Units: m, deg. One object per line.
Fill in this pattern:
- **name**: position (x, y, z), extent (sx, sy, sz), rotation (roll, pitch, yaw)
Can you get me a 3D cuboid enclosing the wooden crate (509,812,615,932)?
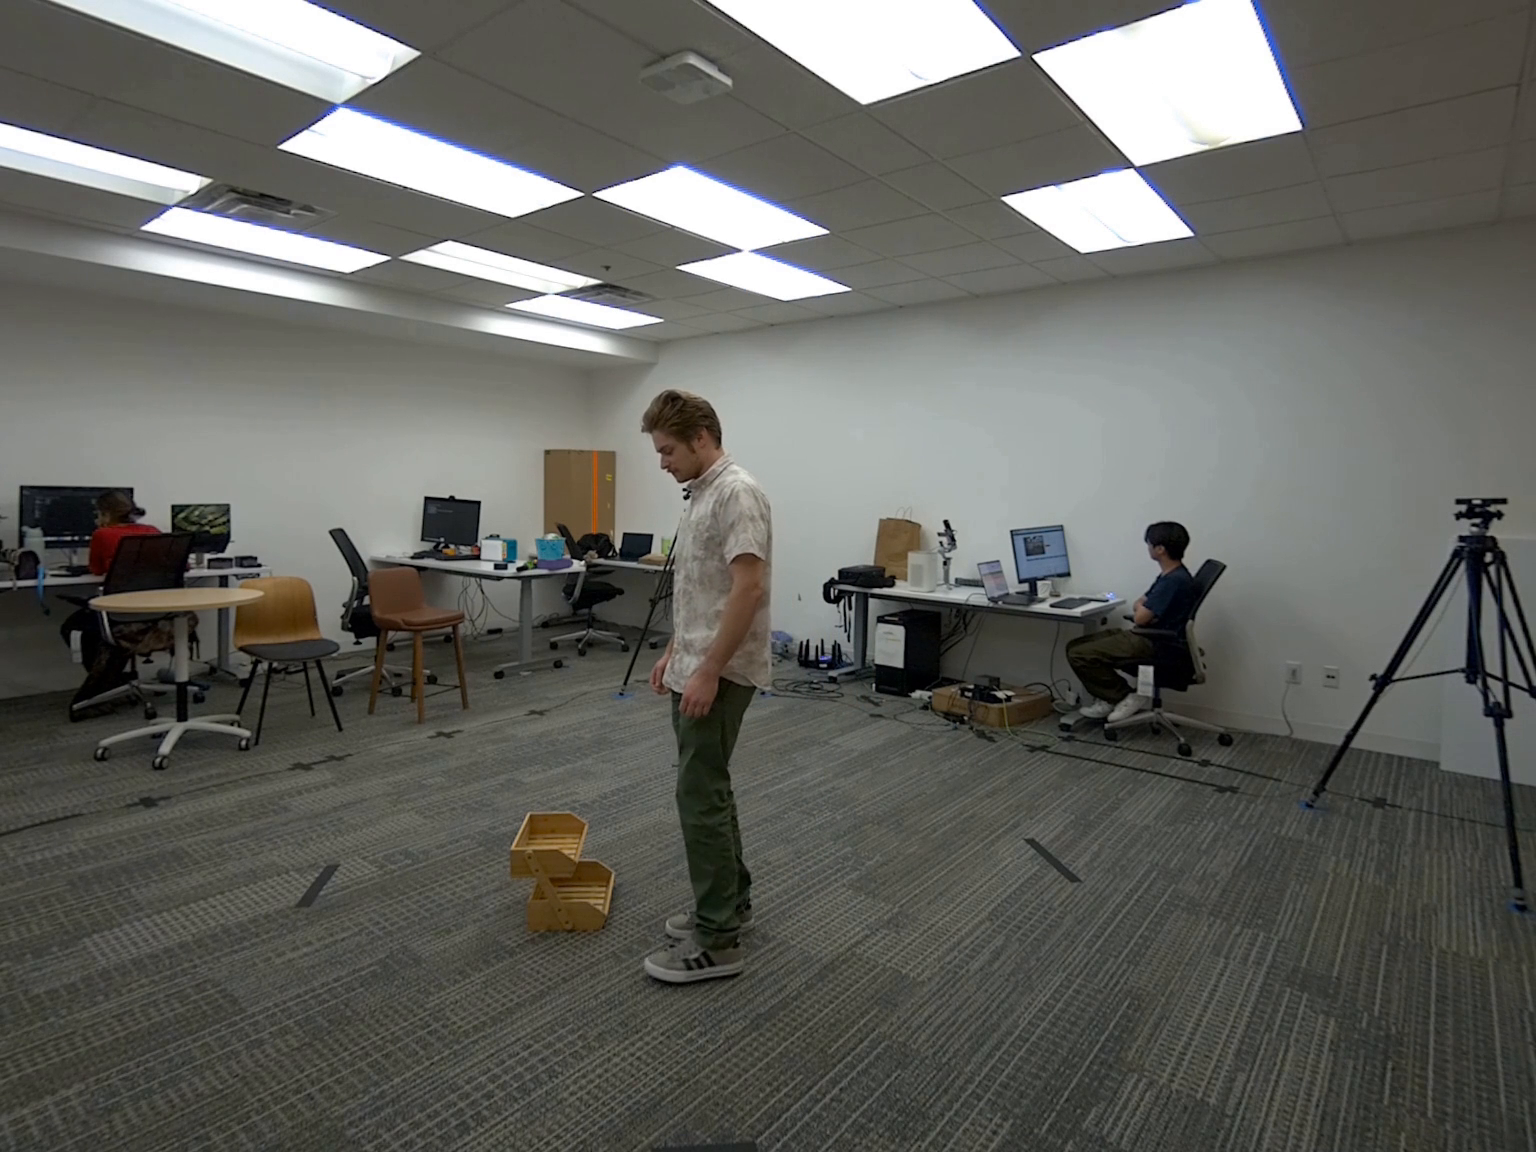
- **wooden crate**: position (-0.676, 0.958, 2.802), extent (0.301, 0.272, 0.327), rotation (0, 5, -4)
